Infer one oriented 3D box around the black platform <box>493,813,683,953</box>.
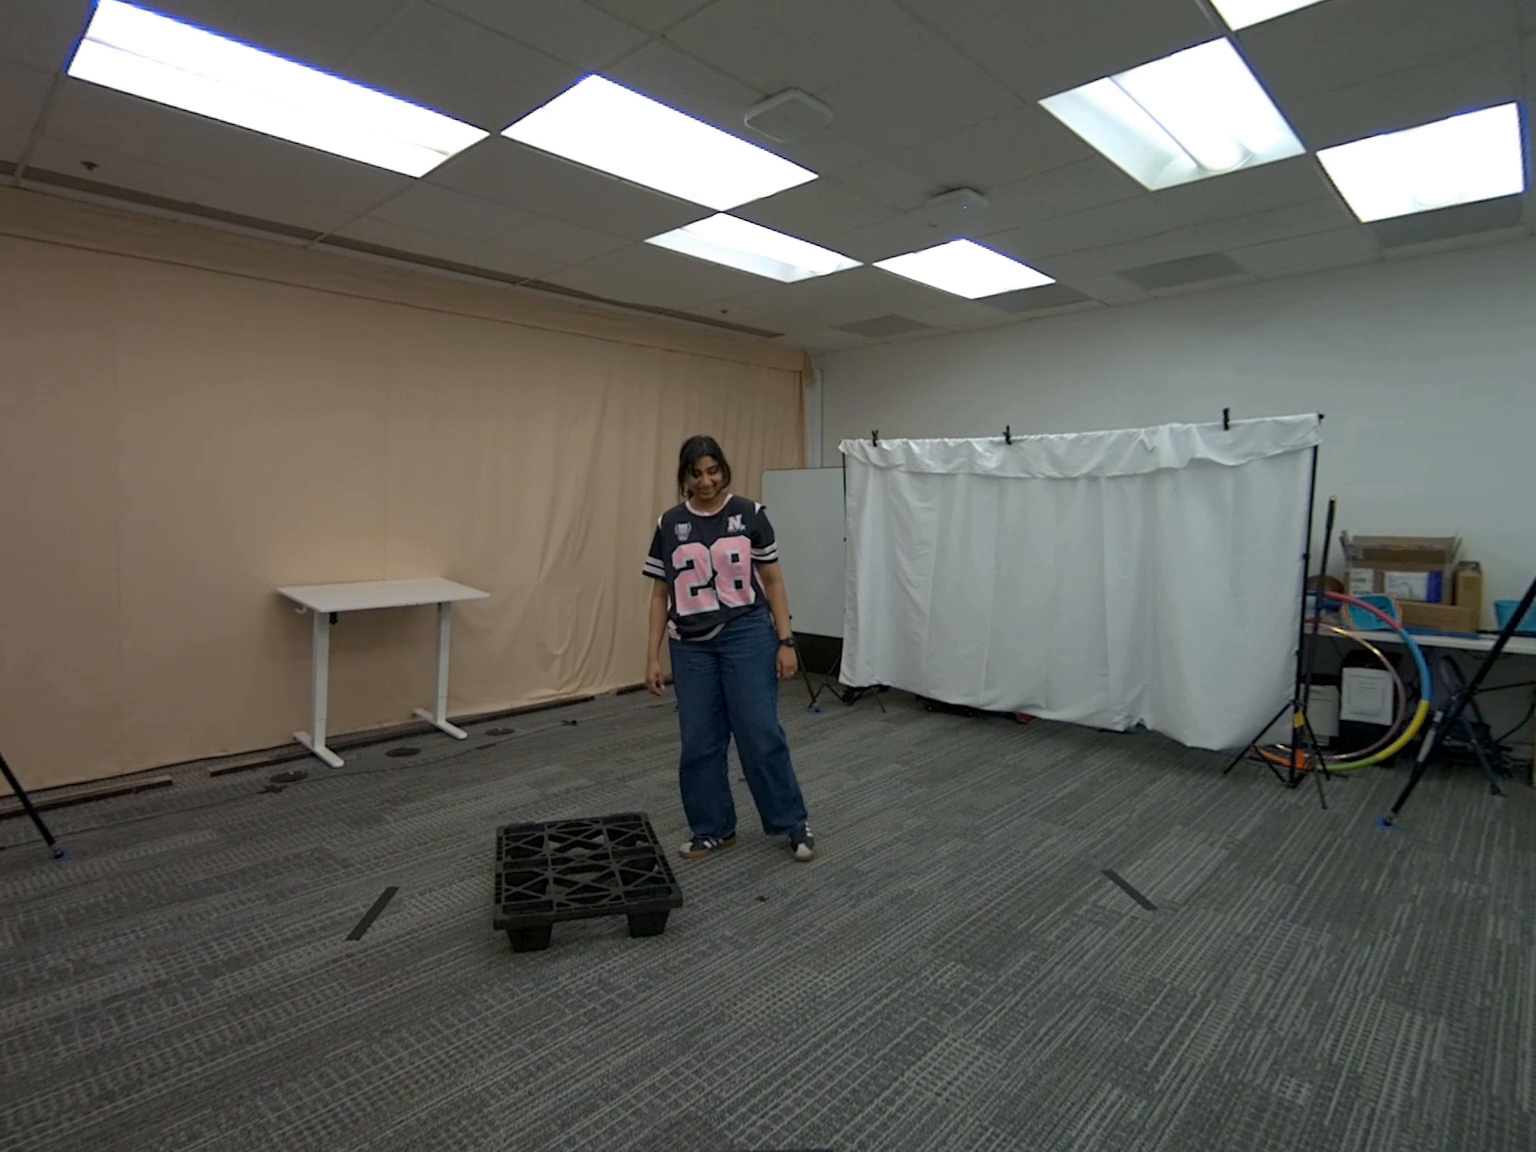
[{"bbox_3d":[-0.677,1.078,3.028,0.596,0.143,0.820,-3,5,-16],"label":"black platform"}]
